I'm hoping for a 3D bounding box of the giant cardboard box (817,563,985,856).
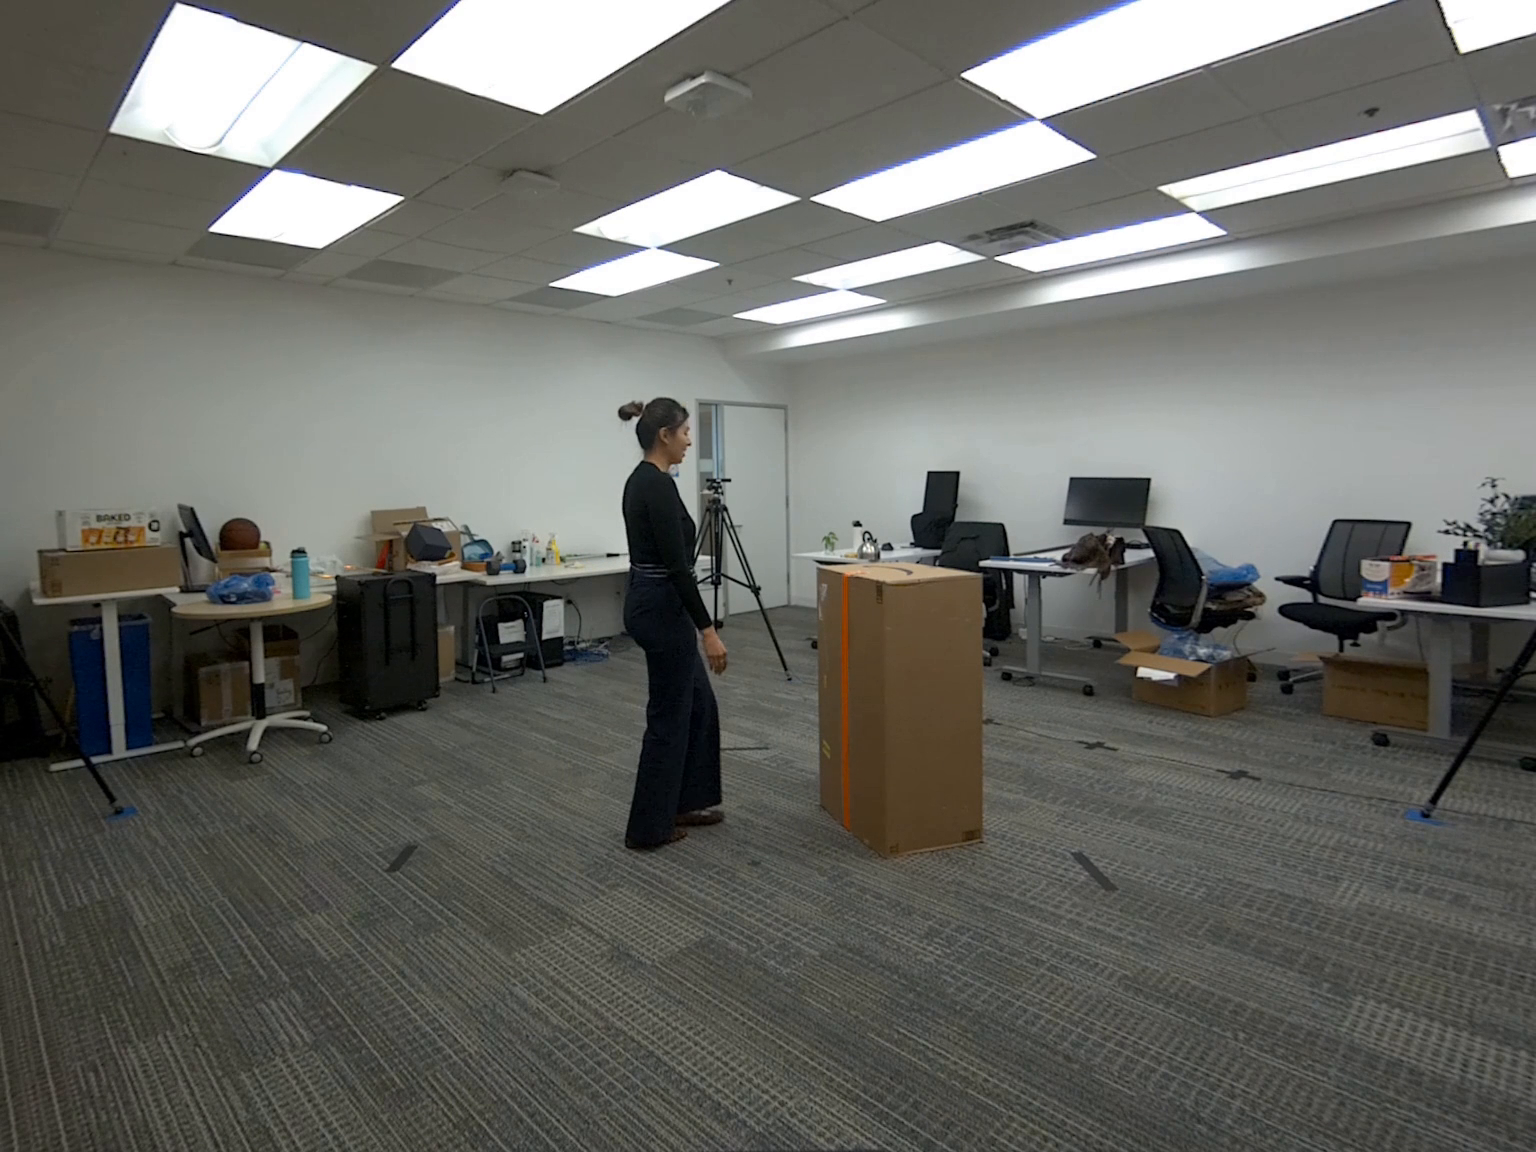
[{"bbox_3d":[0.507,0.487,3.416,0.419,1.022,0.590,-2,4,-20],"label":"giant cardboard box"}]
